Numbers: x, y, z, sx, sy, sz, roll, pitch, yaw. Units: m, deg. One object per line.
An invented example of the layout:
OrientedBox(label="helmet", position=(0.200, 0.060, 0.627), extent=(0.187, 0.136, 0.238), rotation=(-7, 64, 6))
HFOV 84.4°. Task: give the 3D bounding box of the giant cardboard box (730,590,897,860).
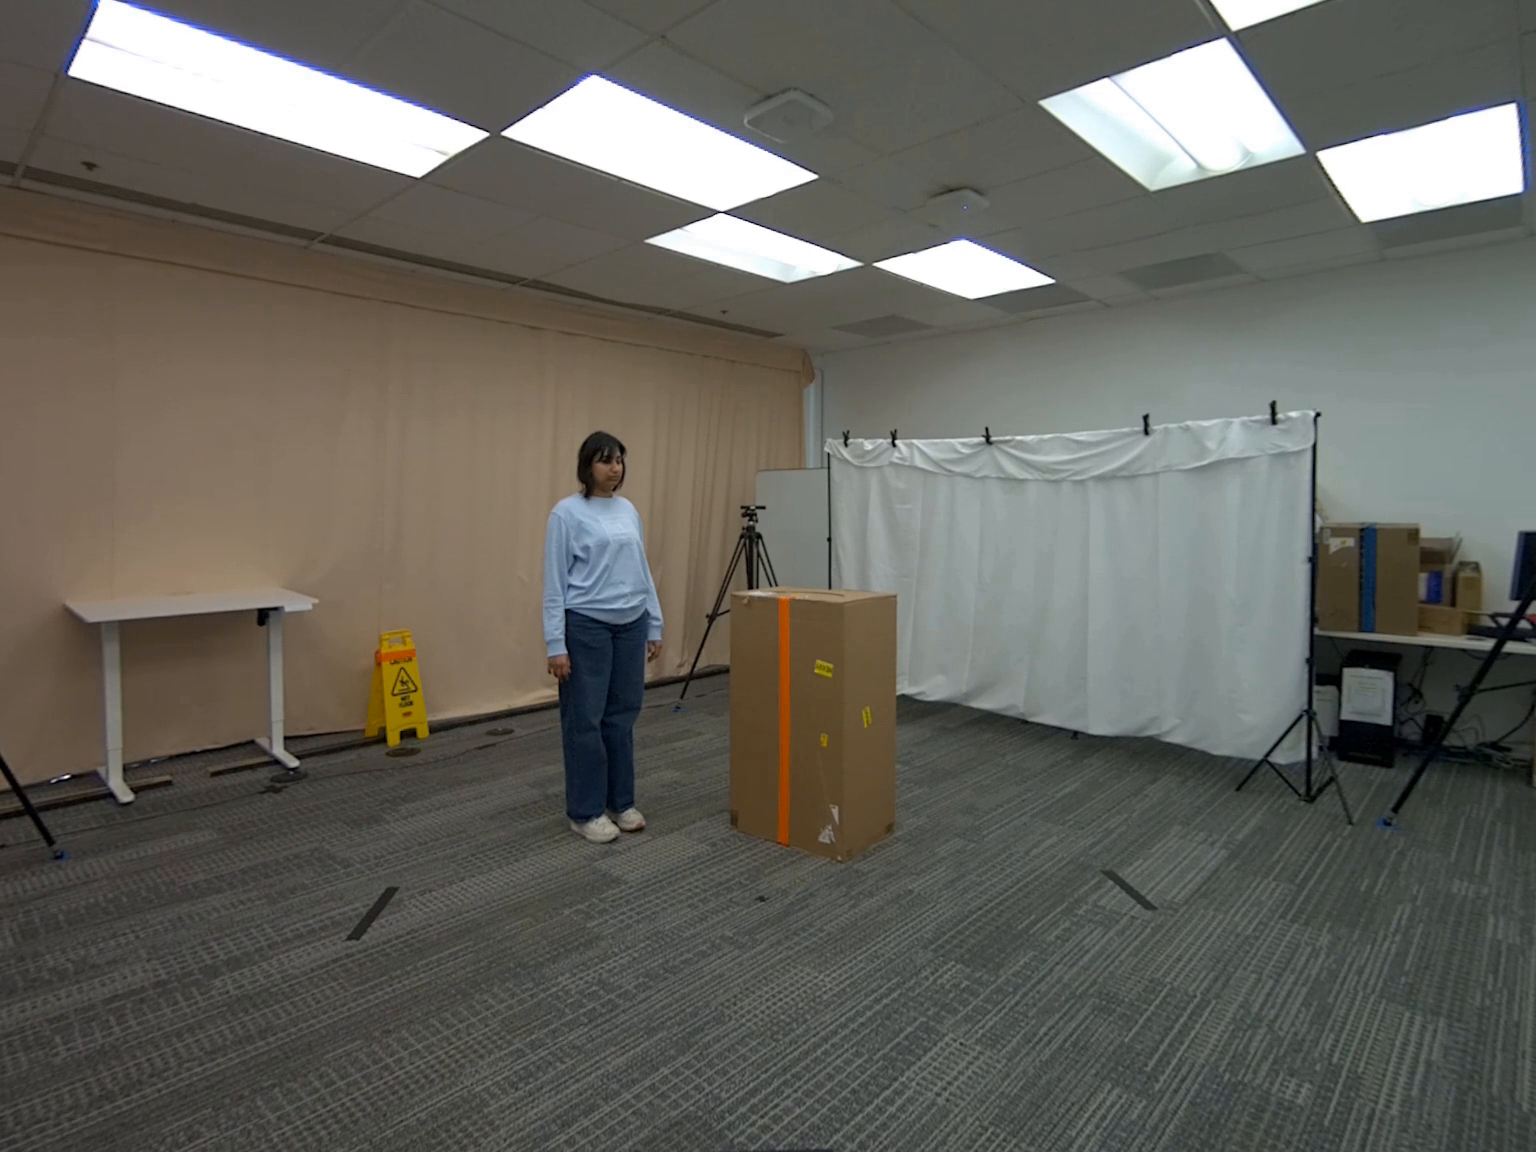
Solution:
OrientedBox(label="giant cardboard box", position=(0.192, 0.582, 3.590), extent=(0.603, 1.025, 0.433), rotation=(3, 4, 39))
